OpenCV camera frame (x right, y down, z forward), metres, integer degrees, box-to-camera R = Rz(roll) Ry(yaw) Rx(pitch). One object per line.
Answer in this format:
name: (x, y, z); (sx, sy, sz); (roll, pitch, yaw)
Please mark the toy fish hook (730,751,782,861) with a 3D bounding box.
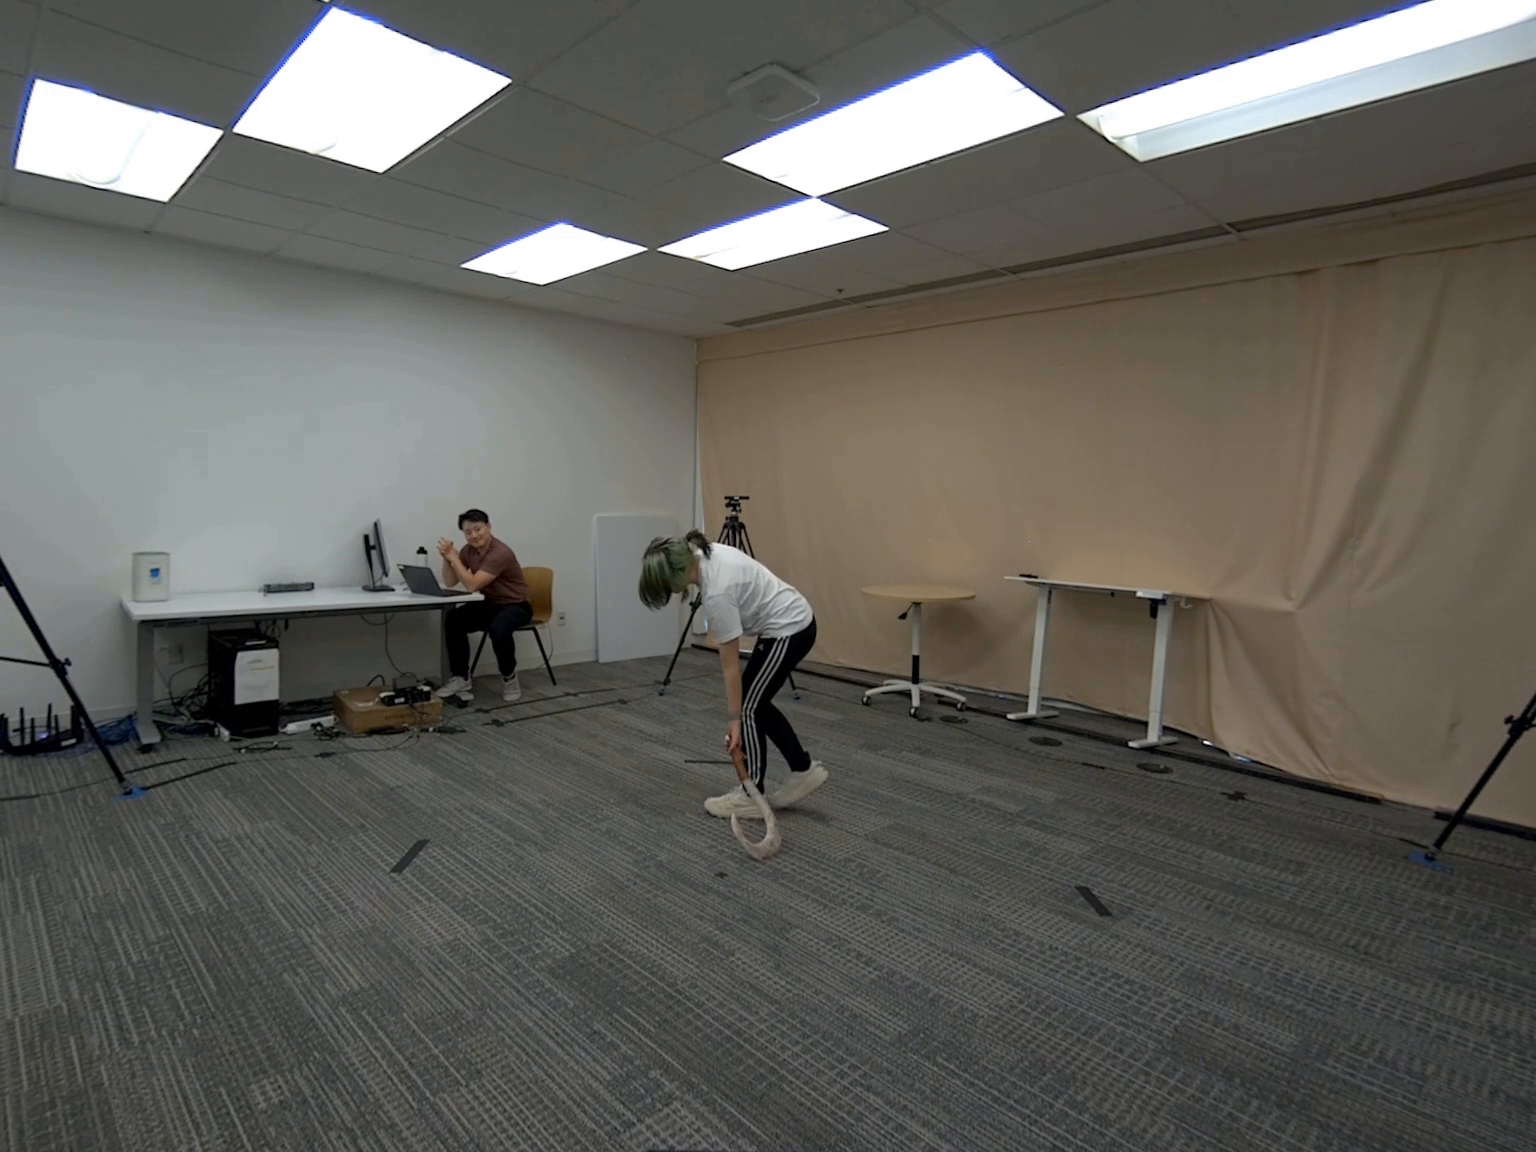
toy fish hook: (-0.107, 0.878, 3.355); (0.219, 0.518, 0.048); (2, -36, -47)
